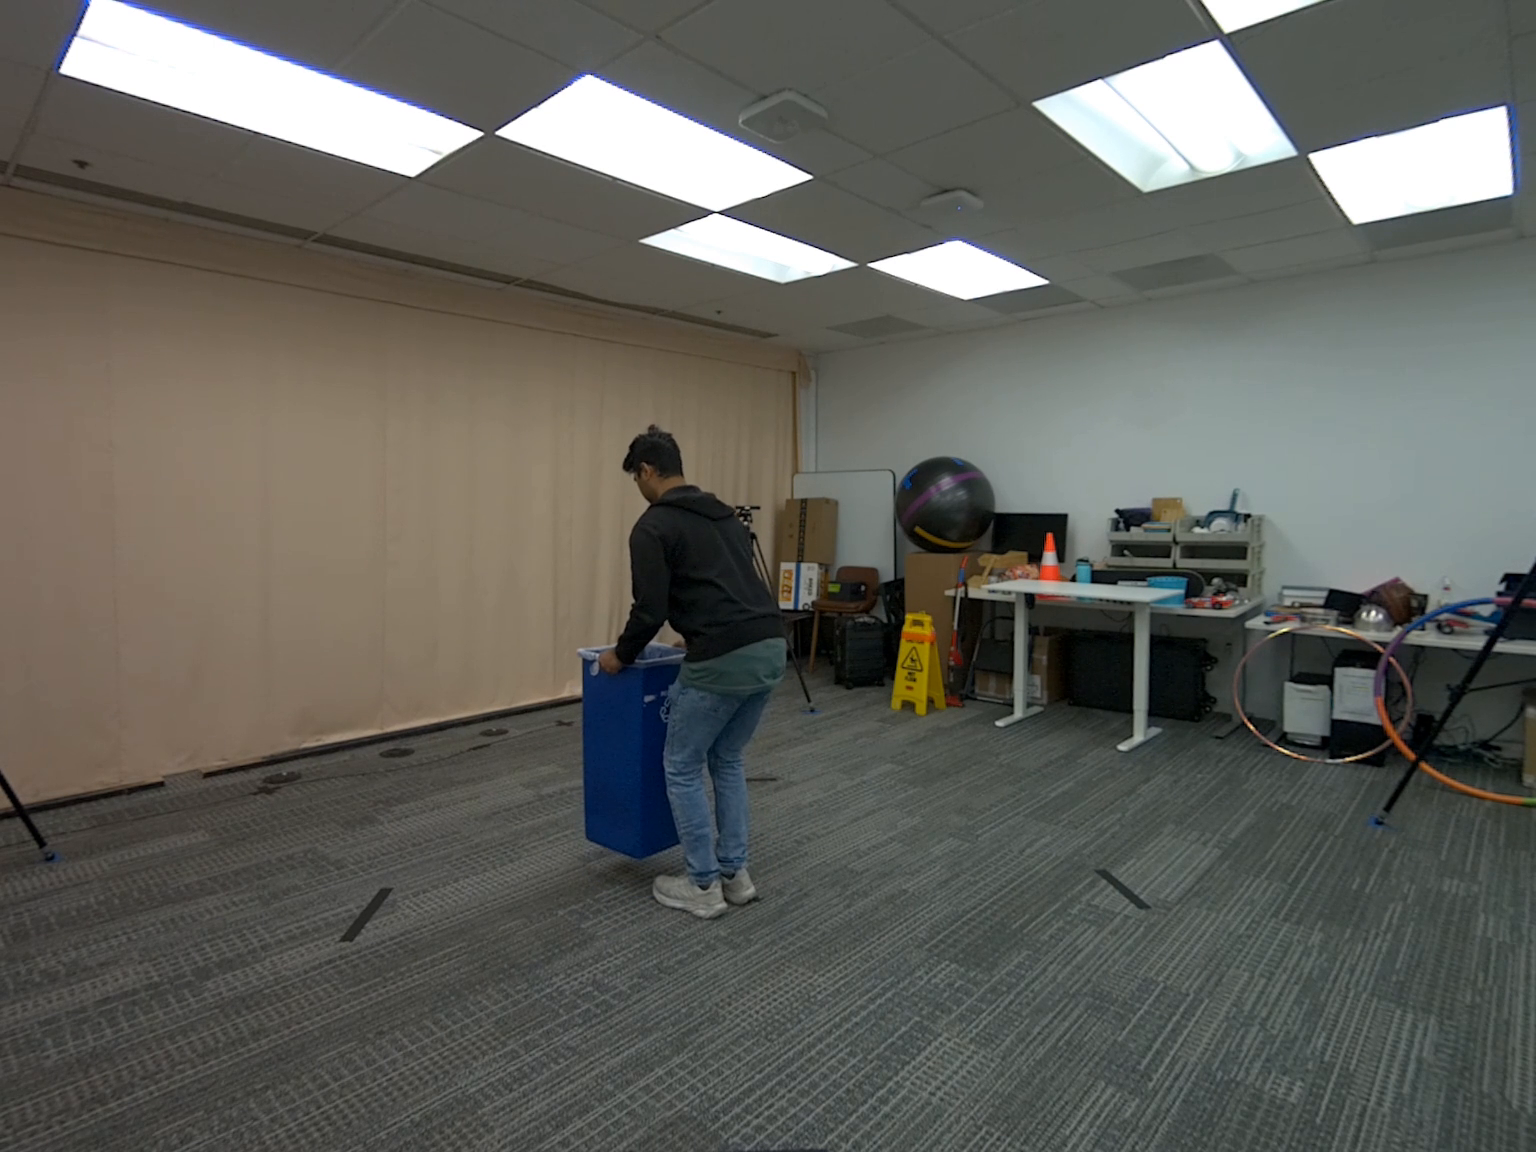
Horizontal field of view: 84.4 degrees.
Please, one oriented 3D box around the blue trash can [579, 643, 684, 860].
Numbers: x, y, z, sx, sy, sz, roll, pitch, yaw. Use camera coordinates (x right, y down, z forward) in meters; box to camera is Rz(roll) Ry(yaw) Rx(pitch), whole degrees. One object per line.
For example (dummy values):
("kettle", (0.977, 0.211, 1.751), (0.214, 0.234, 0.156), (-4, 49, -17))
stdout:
("blue trash can", (-0.477, 0.637, 3.188), (0.390, 0.713, 0.362), (3, 2, 39))
